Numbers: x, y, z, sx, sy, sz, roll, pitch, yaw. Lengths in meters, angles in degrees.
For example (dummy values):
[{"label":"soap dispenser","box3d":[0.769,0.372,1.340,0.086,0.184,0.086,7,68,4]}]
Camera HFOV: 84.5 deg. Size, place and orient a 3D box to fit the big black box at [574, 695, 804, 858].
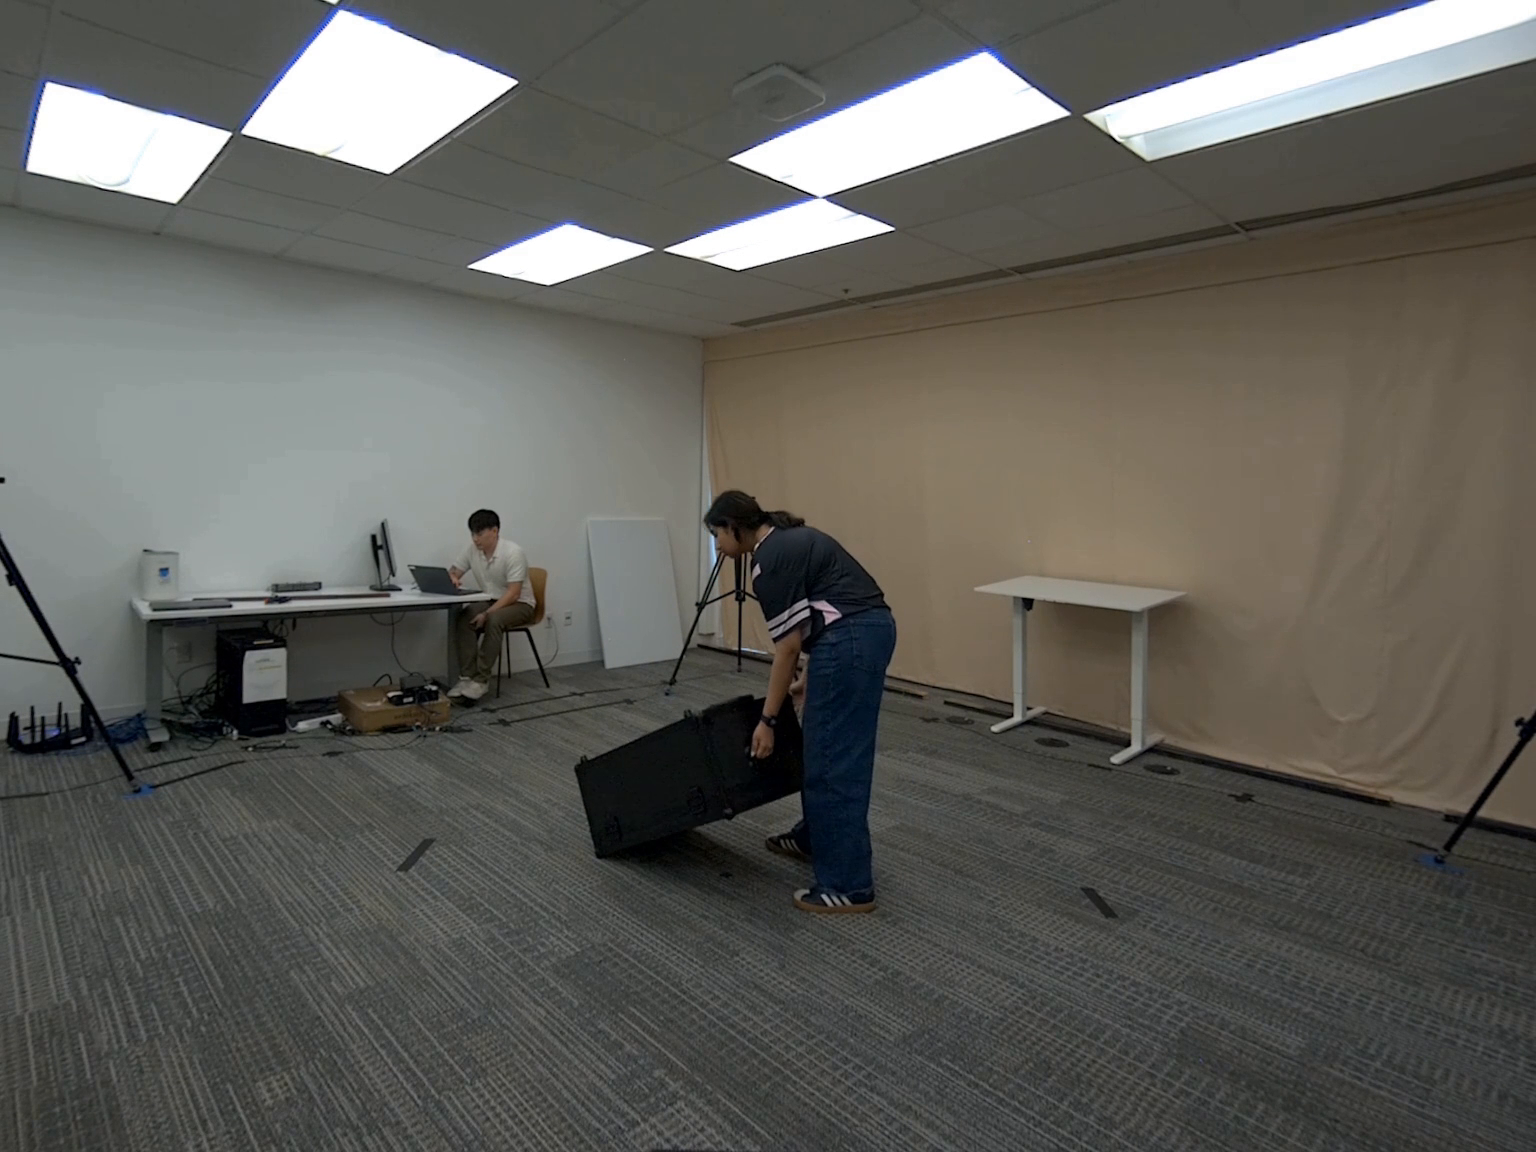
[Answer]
[{"label":"big black box","box3d":[-0.326,0.769,3.216,0.512,0.390,0.876,-5,-19,-47]}]
